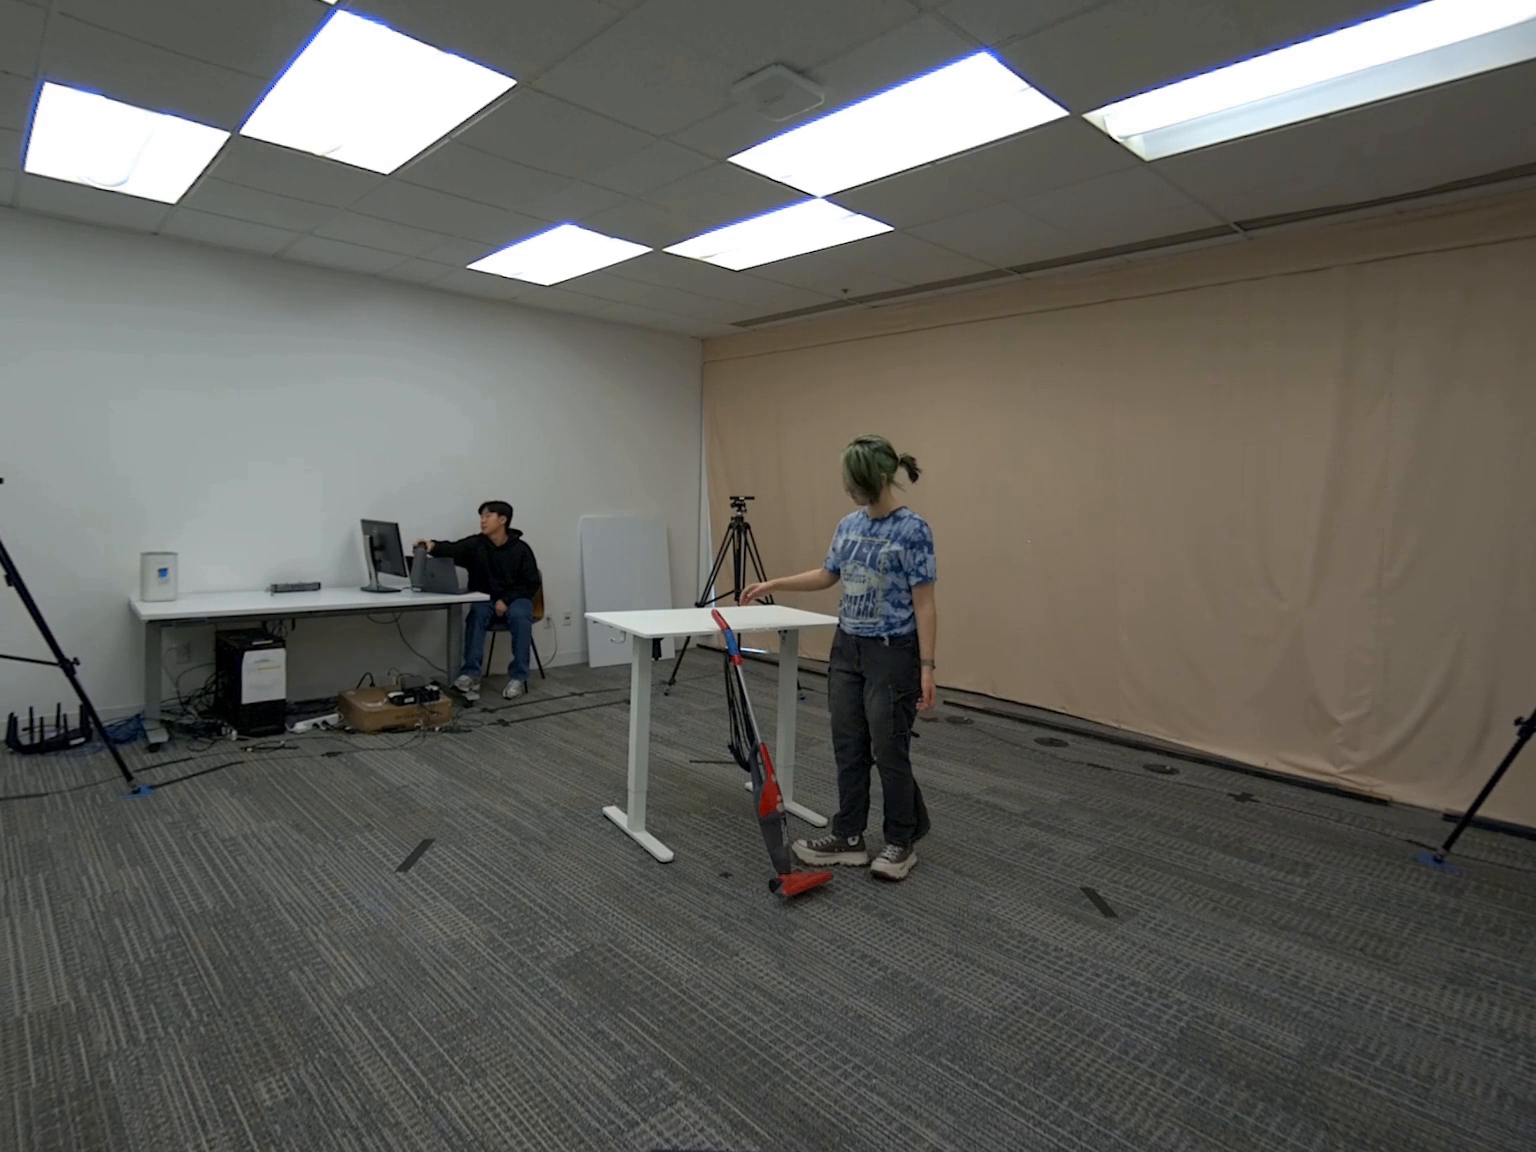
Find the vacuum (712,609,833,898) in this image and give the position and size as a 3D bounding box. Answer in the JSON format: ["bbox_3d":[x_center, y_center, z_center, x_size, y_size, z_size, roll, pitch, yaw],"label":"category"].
[{"bbox_3d":[-0.061,0.626,3.126,0.246,1.066,0.145,2,-26,-46],"label":"vacuum"}]
